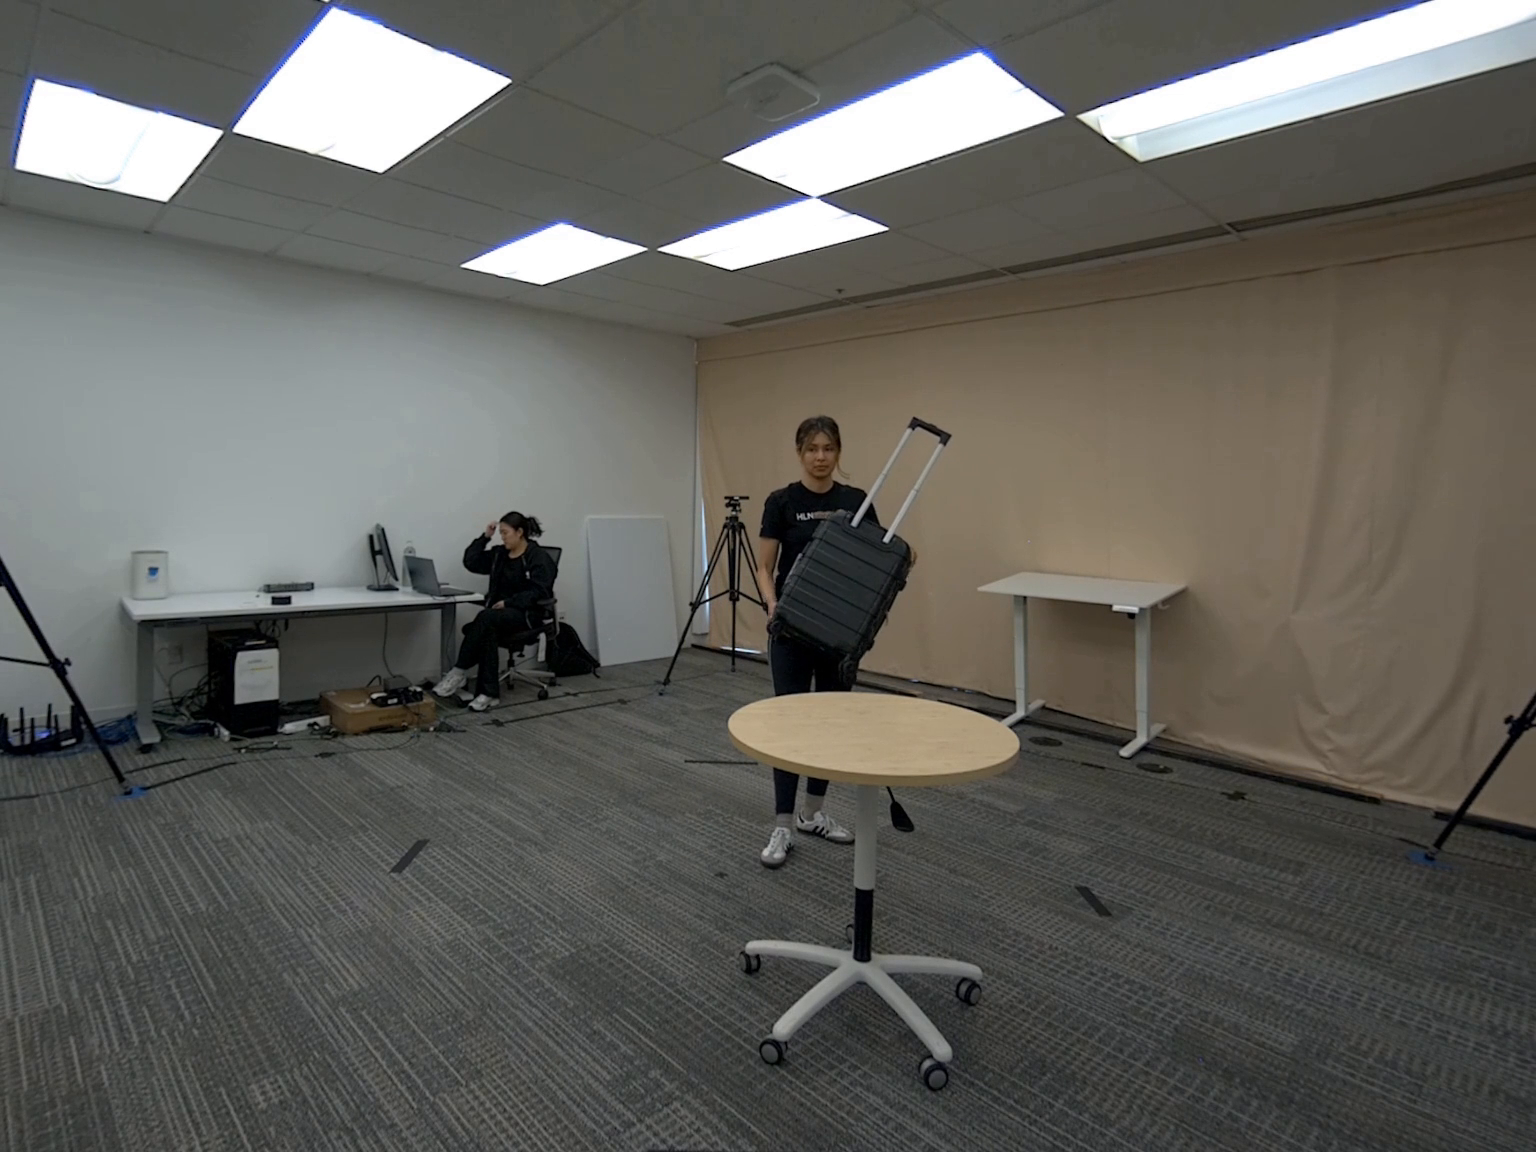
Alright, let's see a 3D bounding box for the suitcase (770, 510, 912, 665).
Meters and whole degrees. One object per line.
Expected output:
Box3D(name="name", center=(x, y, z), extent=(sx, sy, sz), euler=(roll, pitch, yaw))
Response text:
Box3D(name="suitcase", center=(0.365, -0.125, 3.152), extent=(0.390, 0.982, 0.252), euler=(27, -14, 13))
